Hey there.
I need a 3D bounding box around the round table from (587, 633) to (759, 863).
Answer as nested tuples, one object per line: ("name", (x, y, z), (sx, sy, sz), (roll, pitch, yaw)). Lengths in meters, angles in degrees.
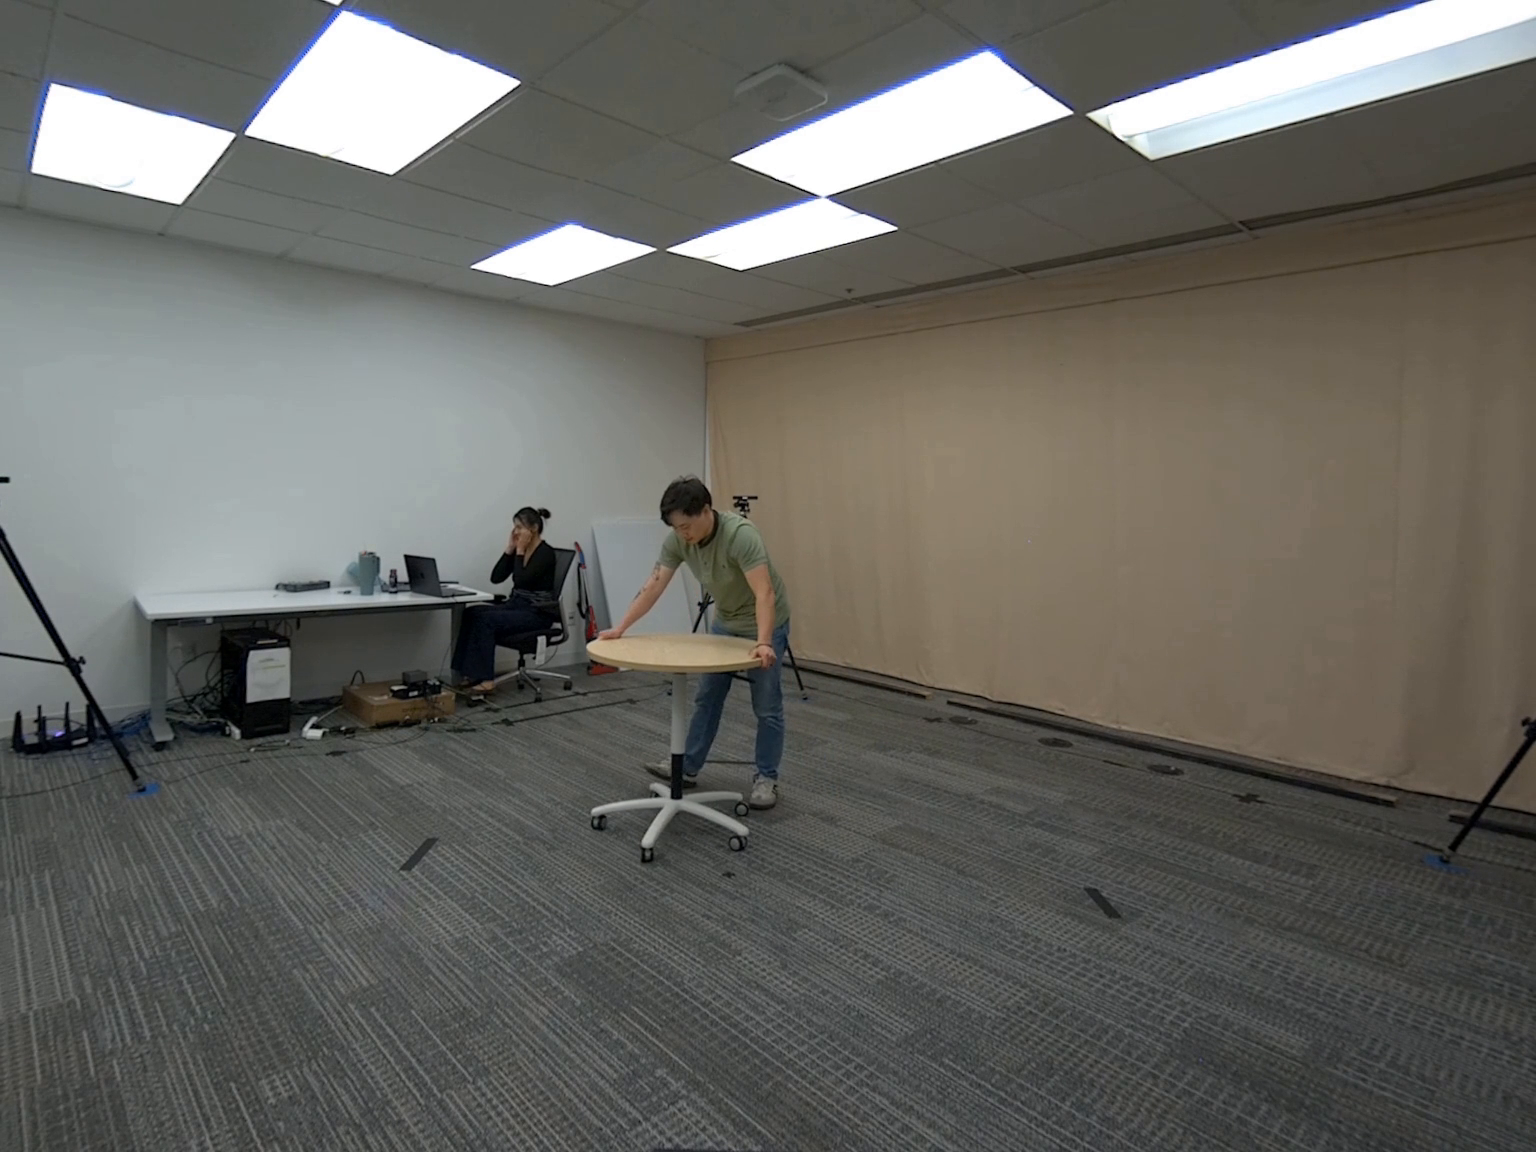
("round table", (-0.385, 0.680, 3.486), (0.763, 0.792, 0.766), (1, 4, -1))
